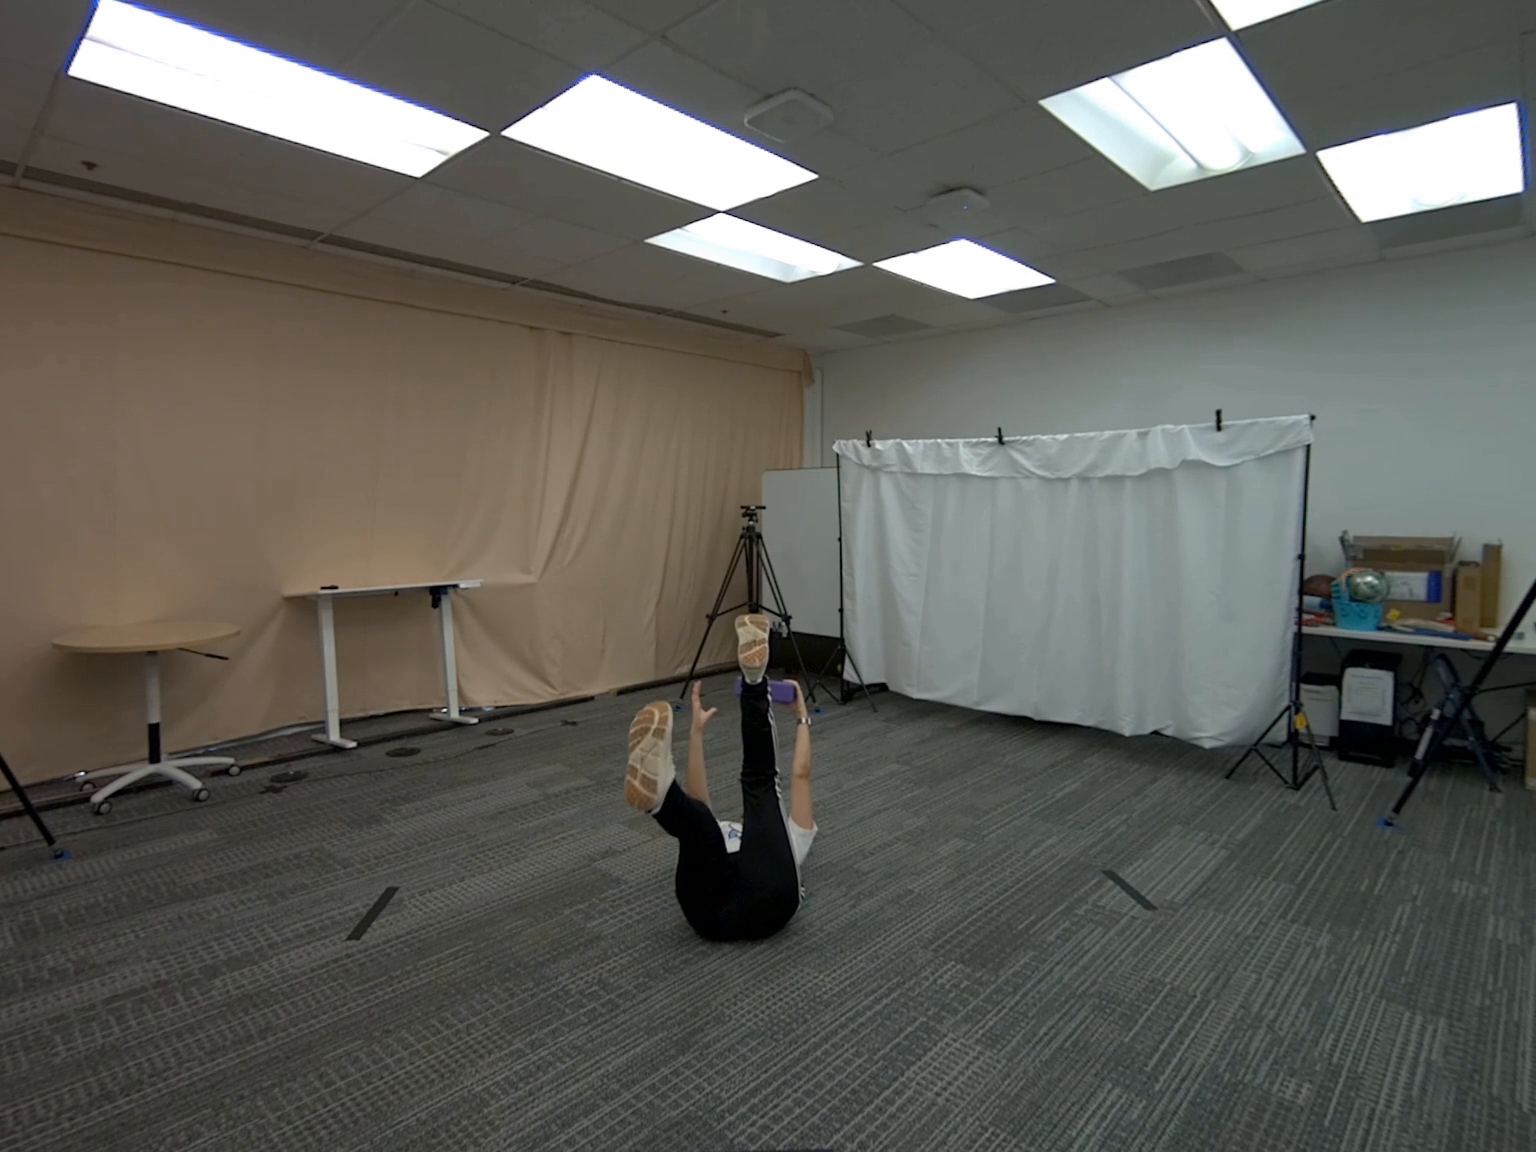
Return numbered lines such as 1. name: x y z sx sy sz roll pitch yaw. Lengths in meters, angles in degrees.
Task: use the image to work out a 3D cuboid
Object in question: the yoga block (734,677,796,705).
1. yoga block: -0.013 0.454 3.360 0.230 0.076 0.148 6 -5 2
